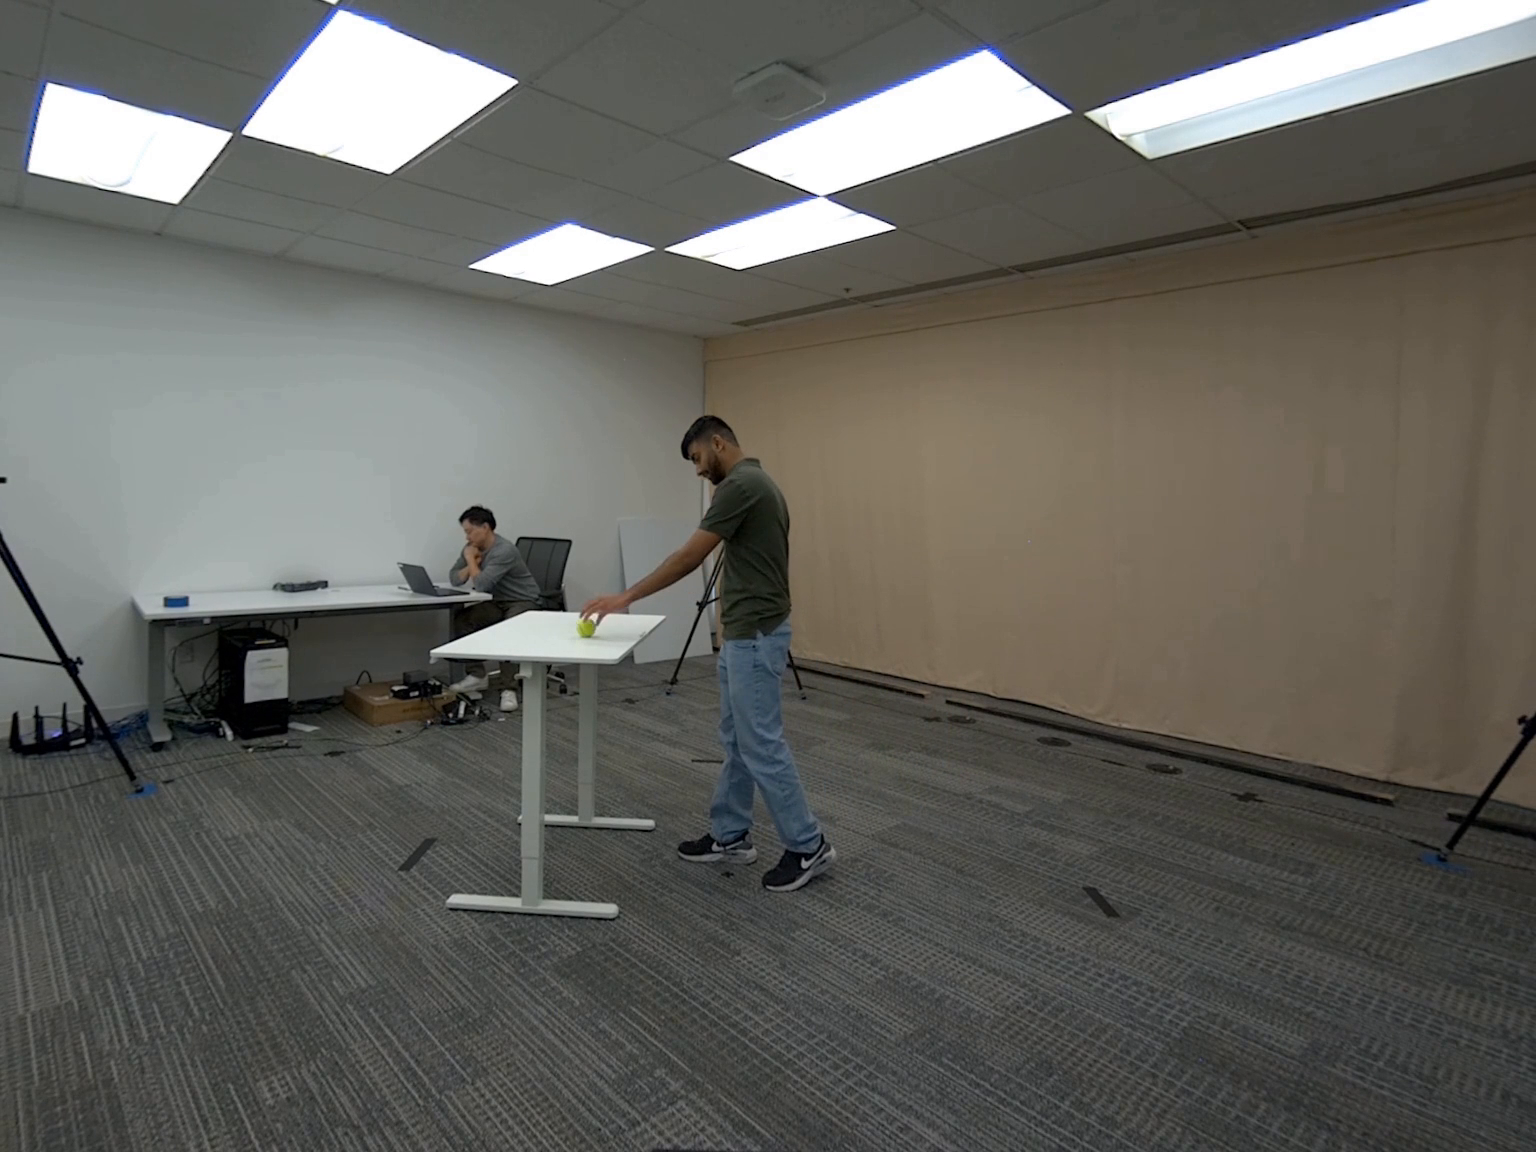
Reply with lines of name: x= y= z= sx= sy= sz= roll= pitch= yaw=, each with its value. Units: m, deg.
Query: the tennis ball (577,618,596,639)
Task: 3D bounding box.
tennis ball: x=-0.642 y=0.183 z=2.997 sx=0.066 sy=0.066 sz=0.067 roll=1 pitch=4 yaw=-1
